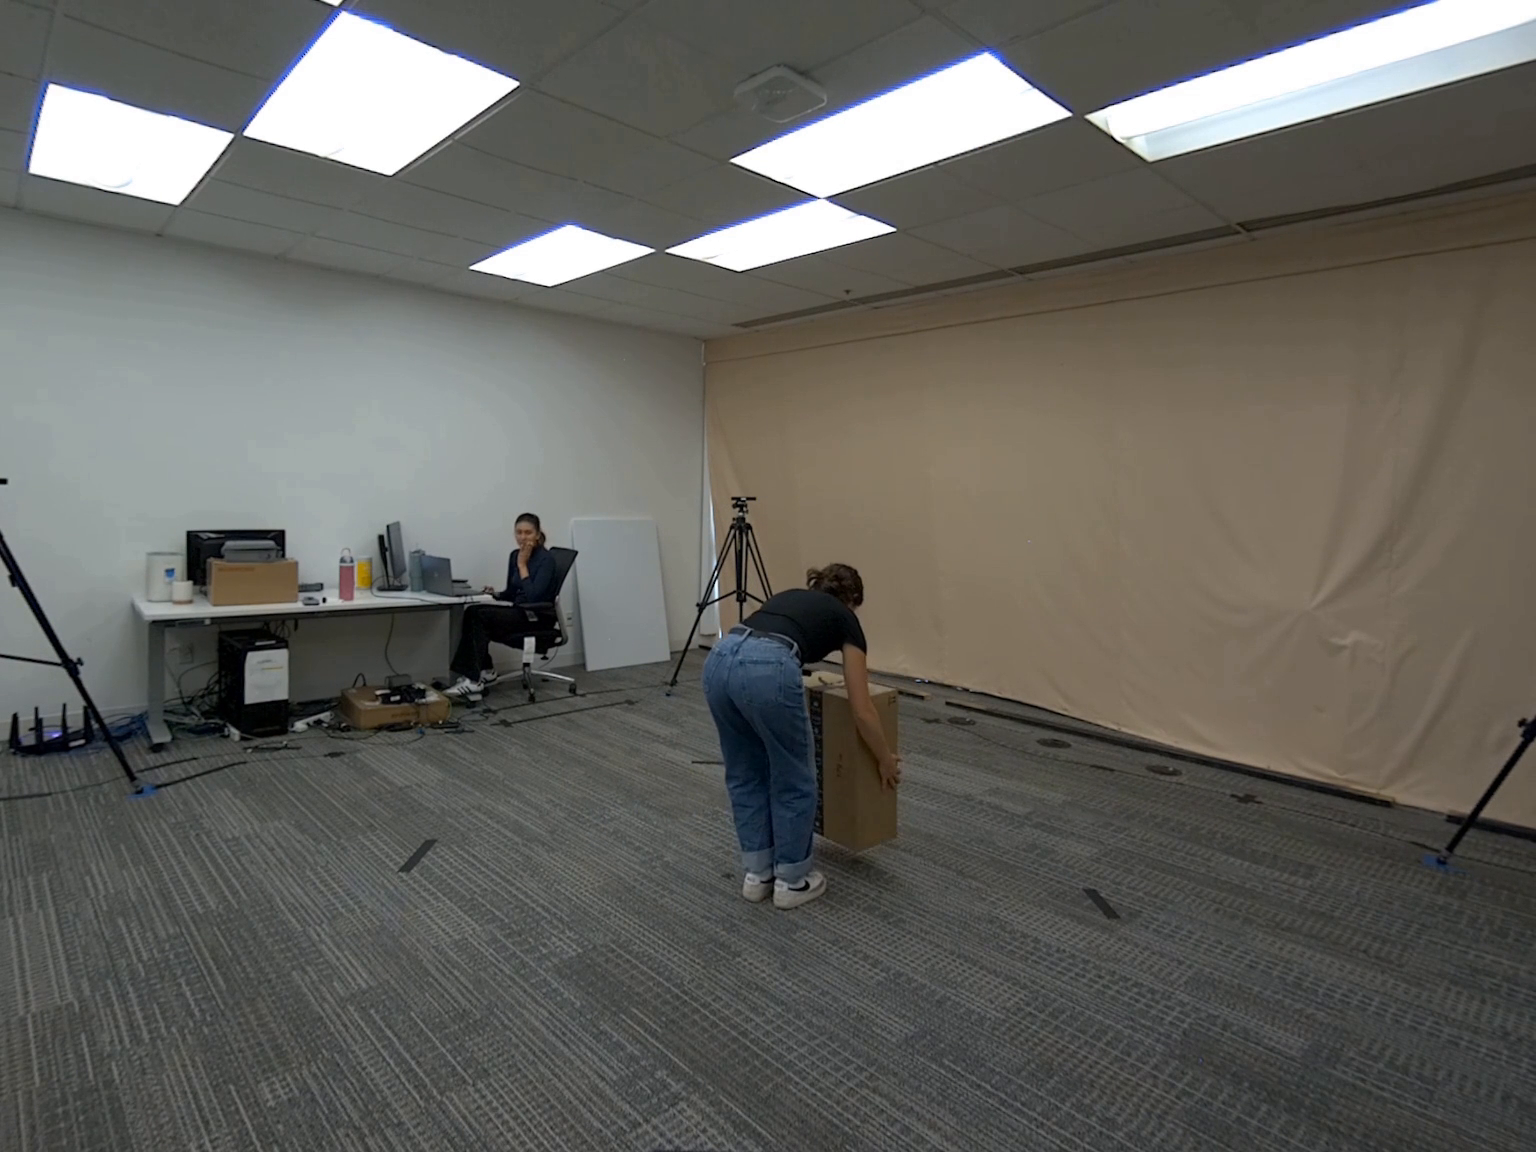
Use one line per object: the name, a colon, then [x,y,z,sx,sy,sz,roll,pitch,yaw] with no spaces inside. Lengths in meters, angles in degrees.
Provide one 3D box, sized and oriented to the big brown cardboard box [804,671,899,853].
big brown cardboard box: [0.266,0.683,3.233,0.228,0.587,0.428,-3,6,-37]
